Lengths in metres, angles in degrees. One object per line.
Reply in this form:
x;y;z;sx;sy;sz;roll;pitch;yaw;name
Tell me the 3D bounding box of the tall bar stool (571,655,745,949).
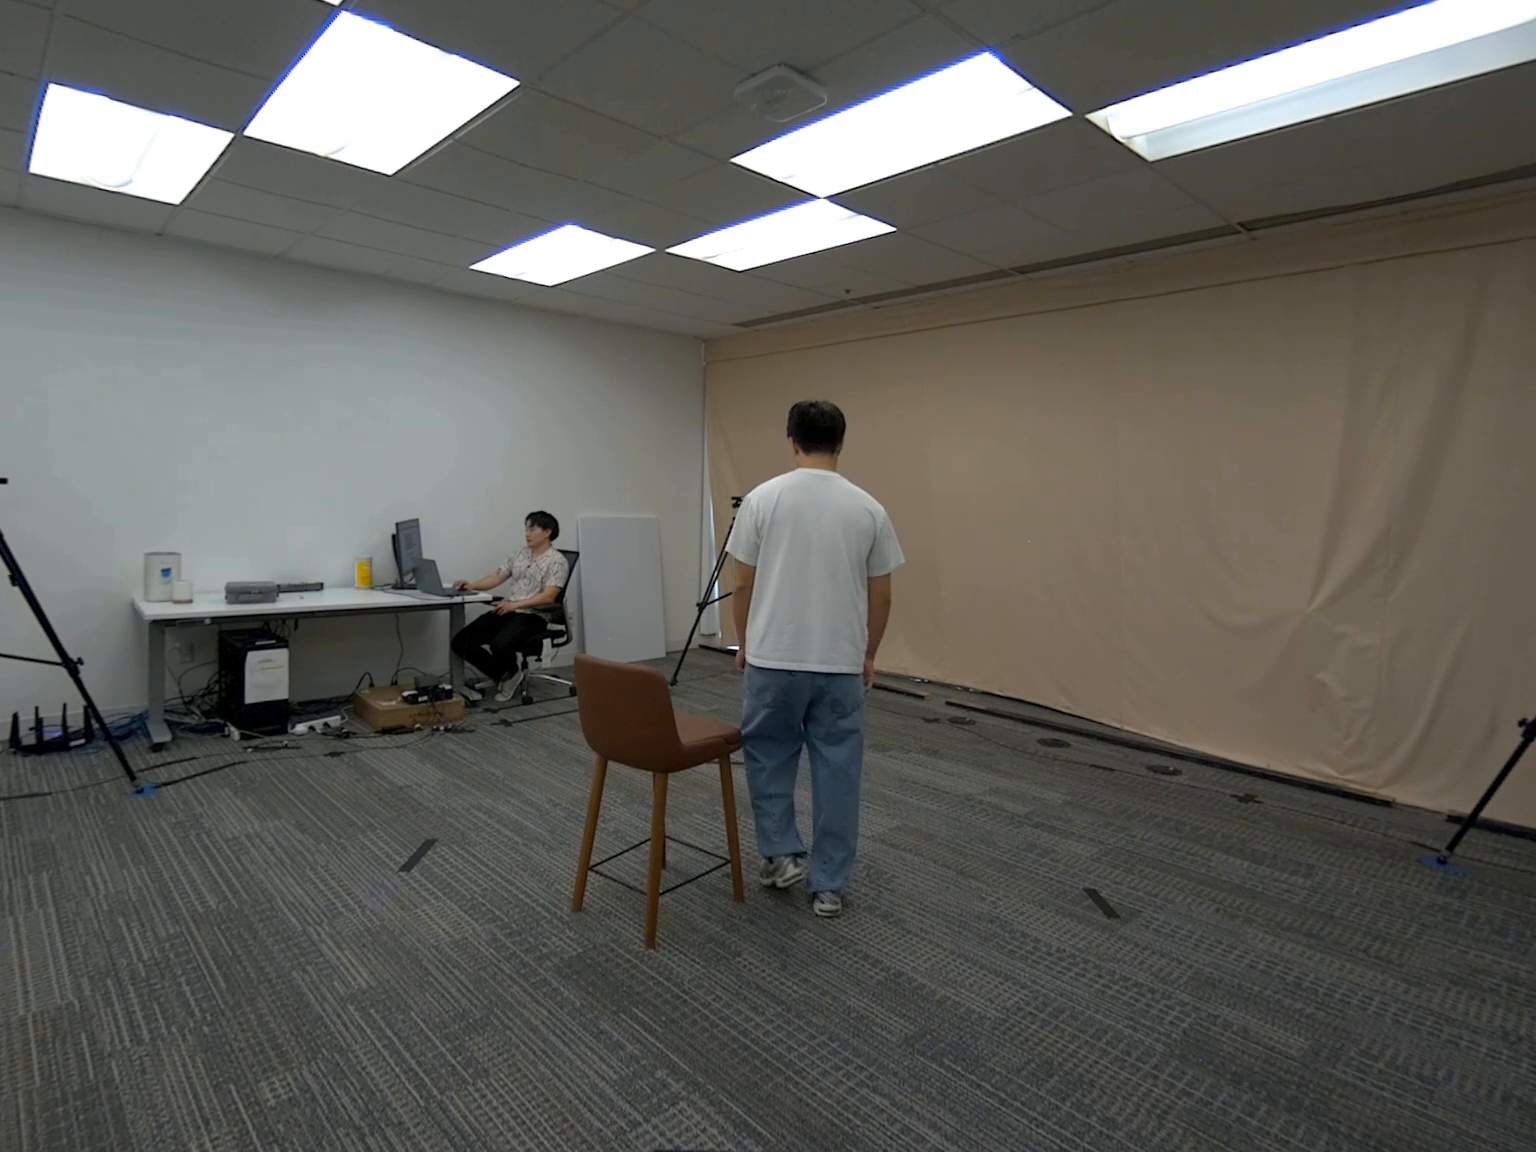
-0.377;0.687;2.844;0.468;0.887;0.458;4;6;39;tall bar stool
